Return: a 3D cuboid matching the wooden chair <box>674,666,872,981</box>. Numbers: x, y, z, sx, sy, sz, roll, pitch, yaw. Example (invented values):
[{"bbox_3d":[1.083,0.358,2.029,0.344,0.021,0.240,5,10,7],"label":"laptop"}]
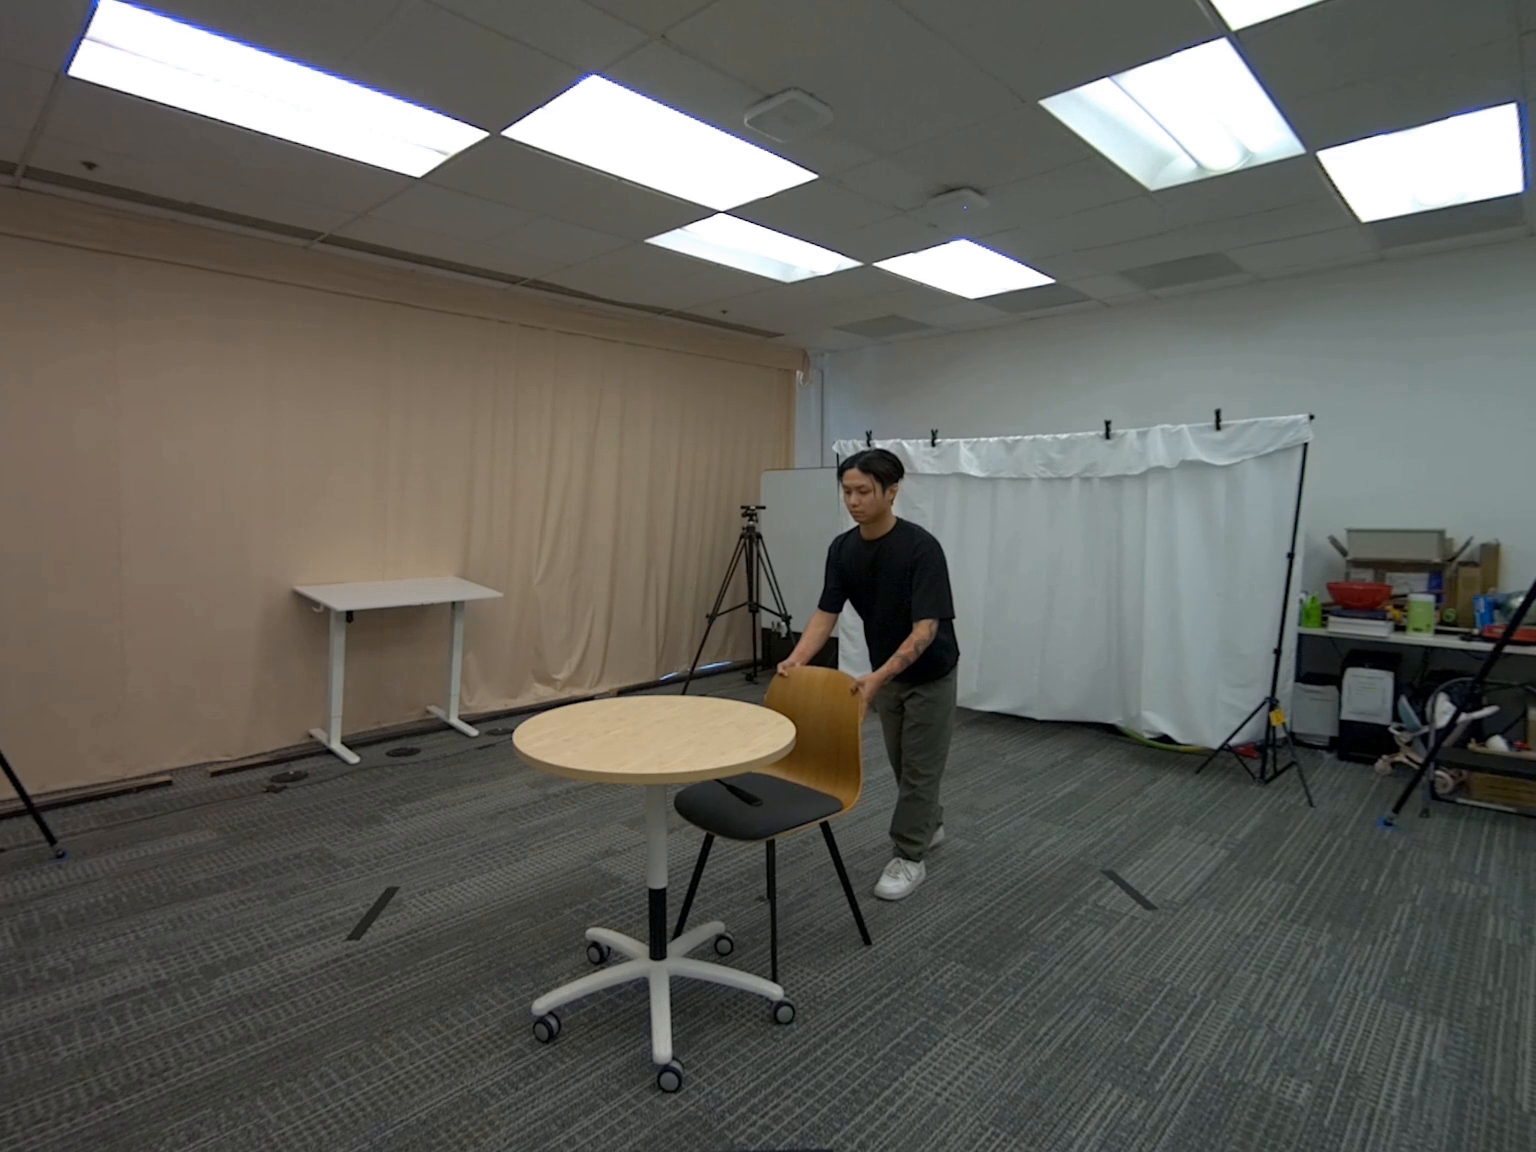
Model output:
[{"bbox_3d":[0.010,0.747,2.644,0.506,0.877,0.494,2,0,-44],"label":"wooden chair"}]
